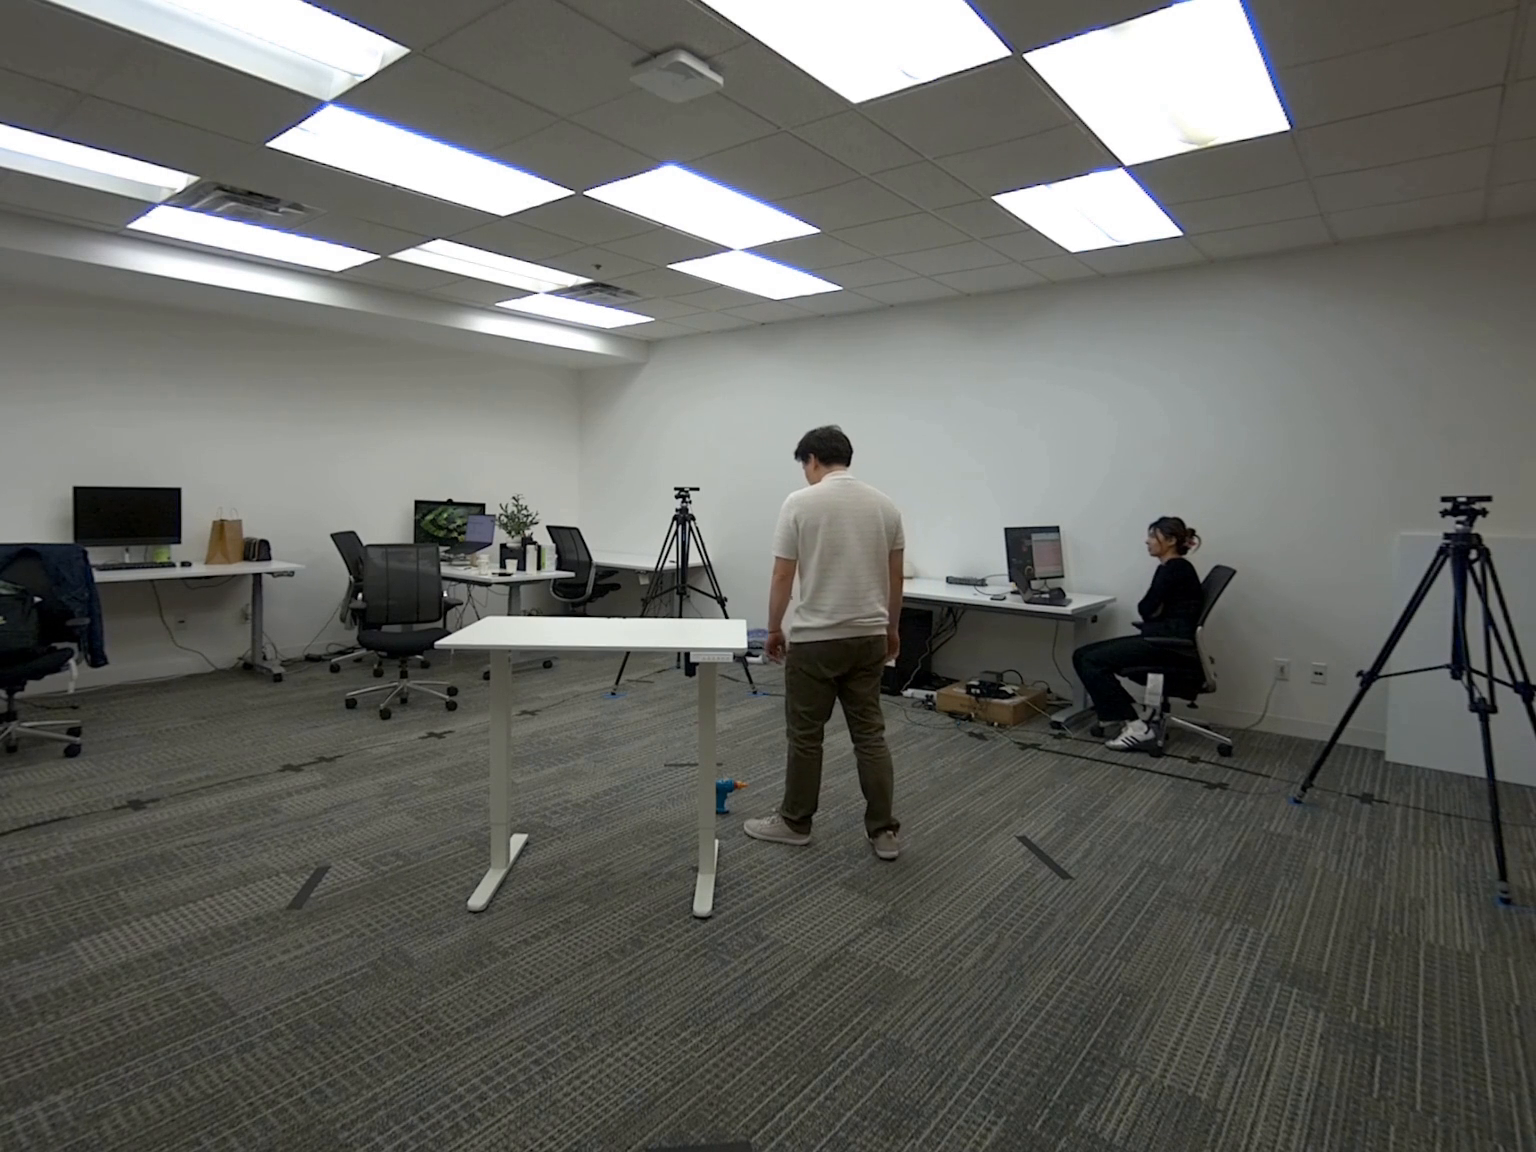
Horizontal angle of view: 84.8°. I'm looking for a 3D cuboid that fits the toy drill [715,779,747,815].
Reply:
[{"bbox_3d":[-0.173,0.941,3.662,0.168,0.145,0.062,0,6,-11],"label":"toy drill"}]
